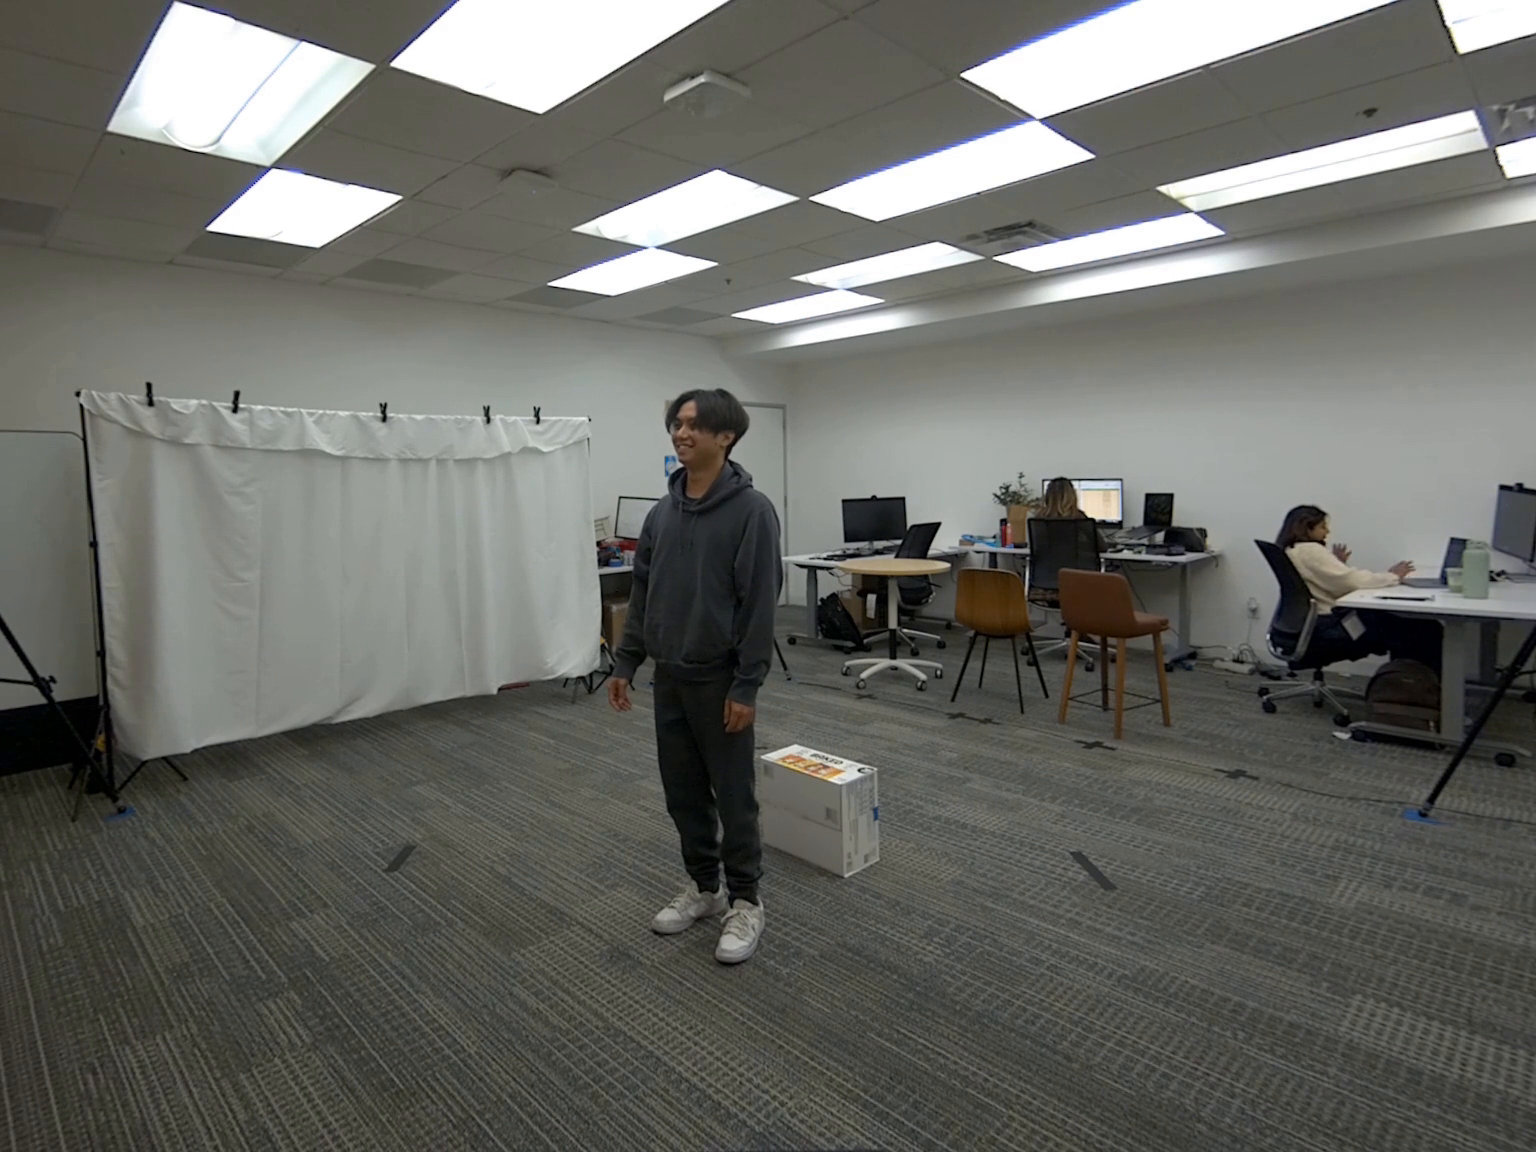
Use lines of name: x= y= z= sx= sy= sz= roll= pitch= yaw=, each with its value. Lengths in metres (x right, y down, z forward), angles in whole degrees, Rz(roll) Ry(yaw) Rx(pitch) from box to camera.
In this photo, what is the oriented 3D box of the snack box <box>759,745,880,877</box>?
snack box: x=0.191 y=0.862 z=3.179 sx=0.200 sy=0.339 sz=0.418 roll=-7 pitch=7 yaw=-43
